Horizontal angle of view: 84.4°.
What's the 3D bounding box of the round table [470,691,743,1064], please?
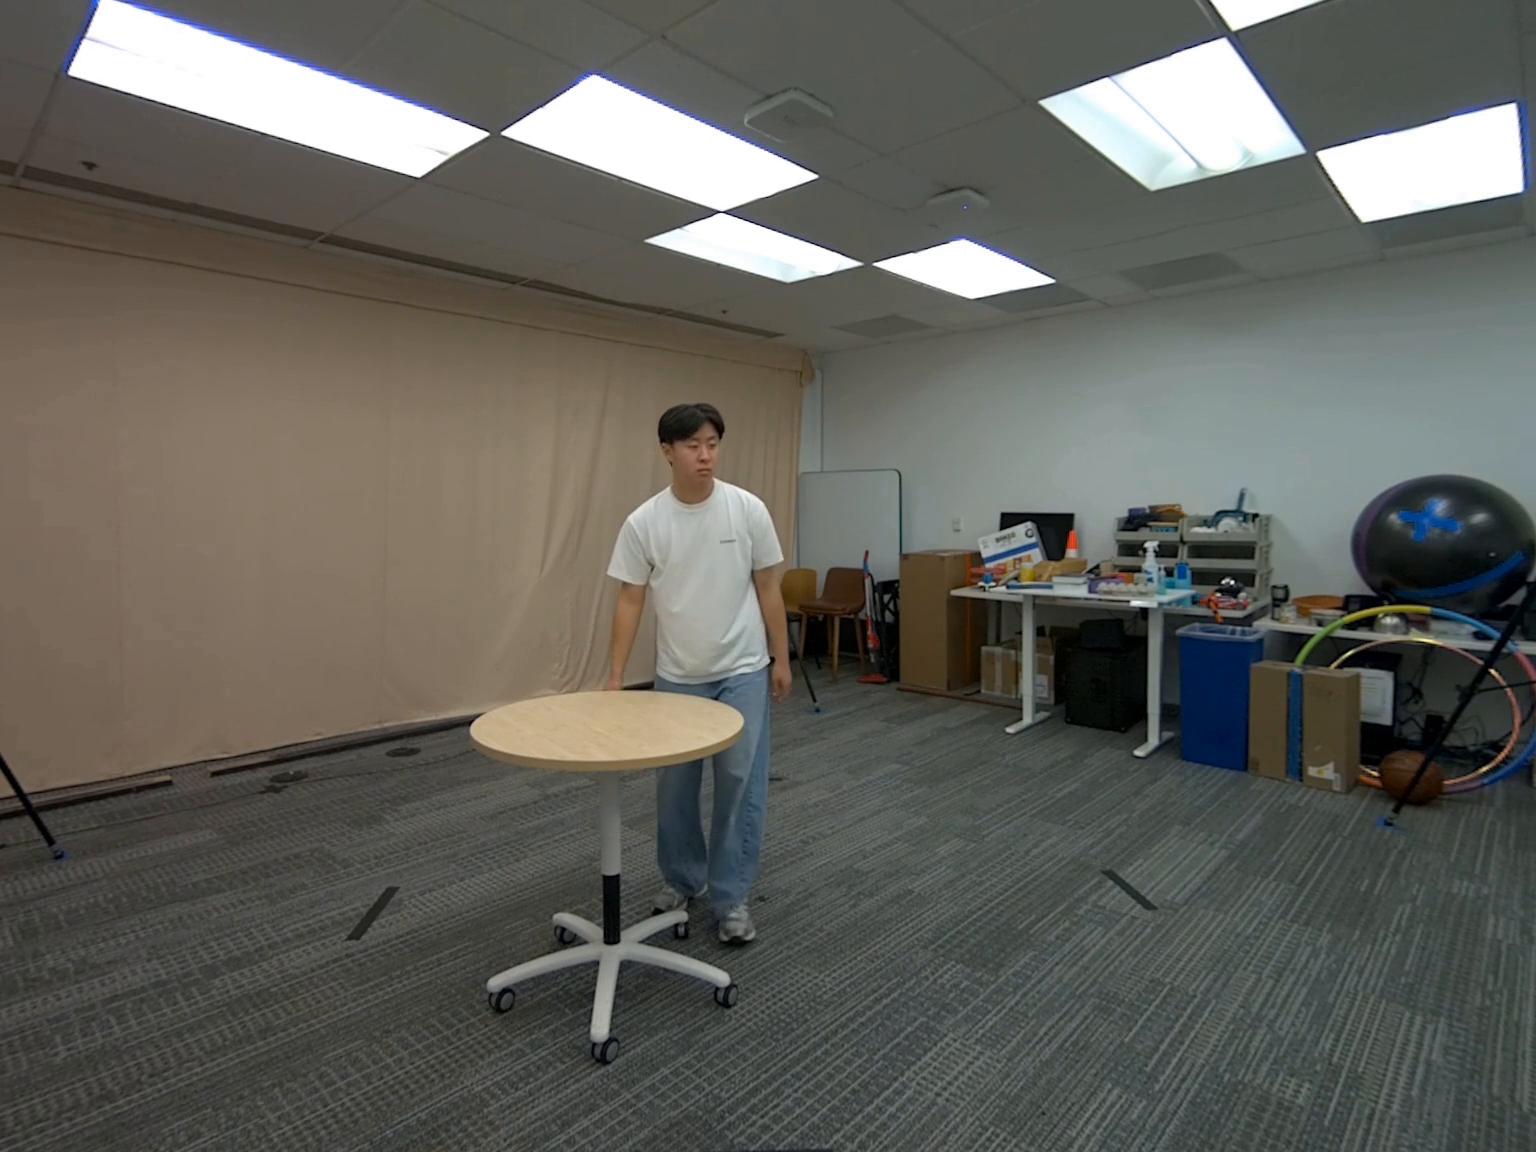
[{"bbox_3d":[-0.445,0.806,2.411,0.763,0.792,0.767,0,4,-2],"label":"round table"}]
